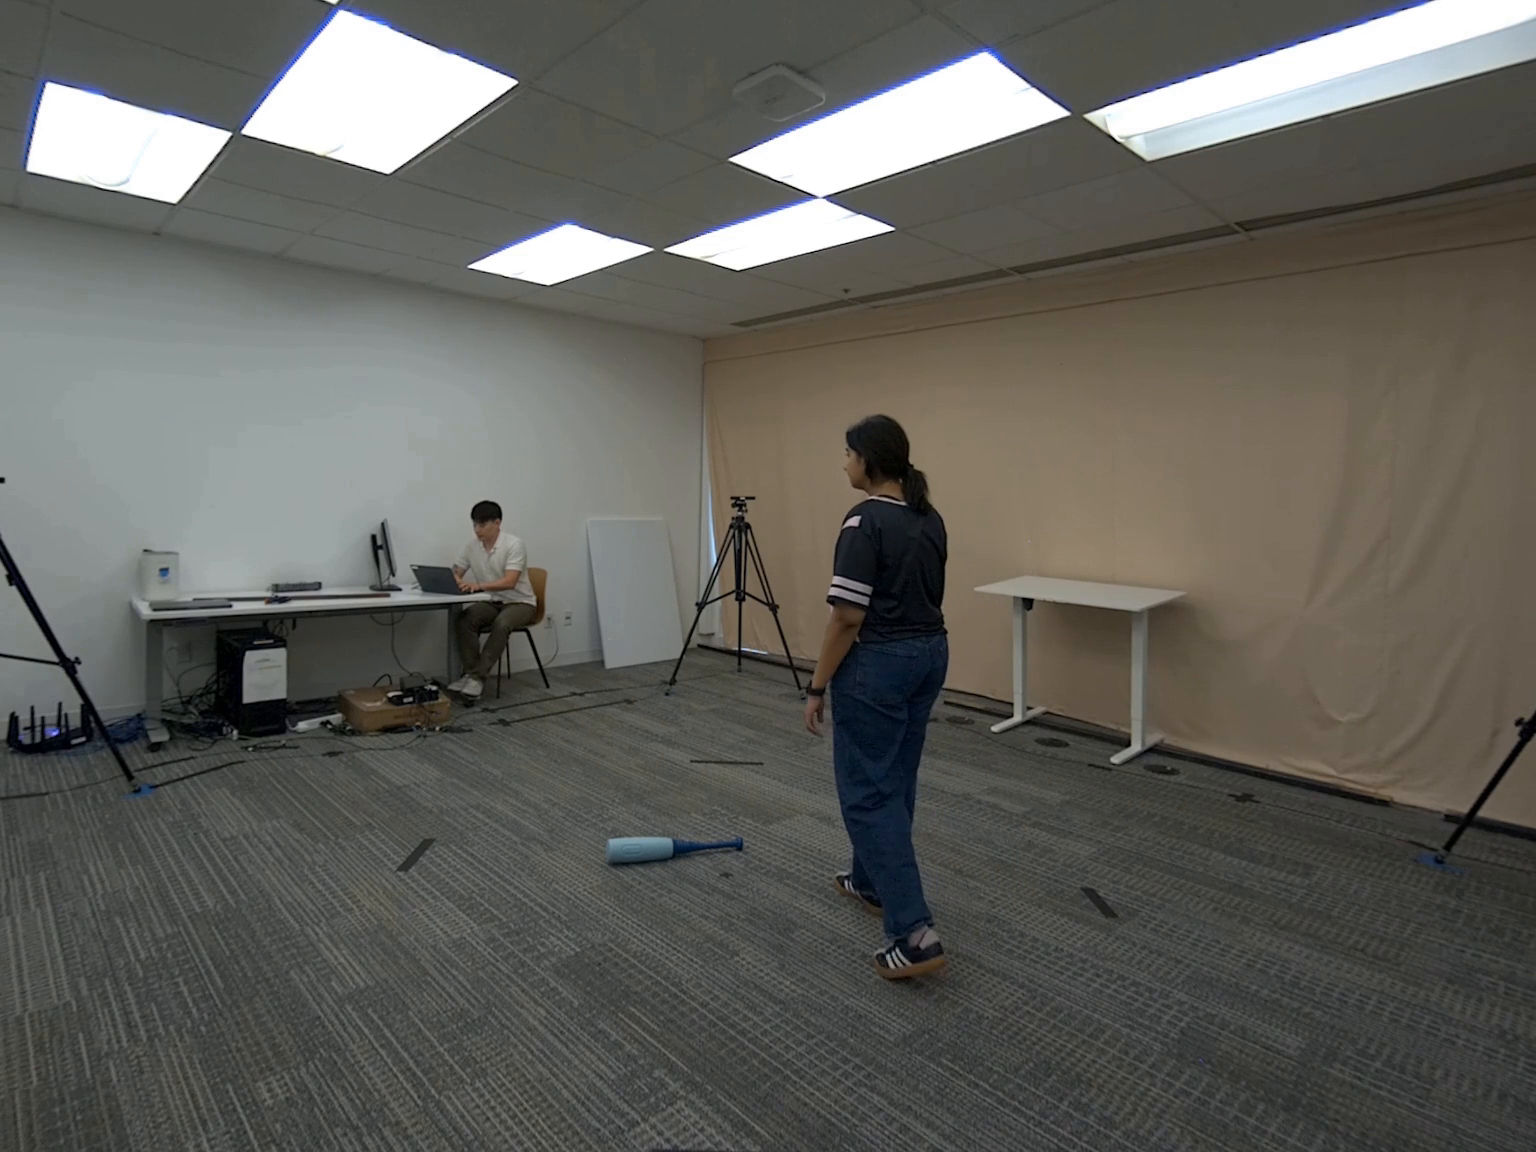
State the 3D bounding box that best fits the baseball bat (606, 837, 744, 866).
[{"bbox_3d":[-0.363,1.057,3.239,0.535,0.089,0.090,4,3,-19],"label":"baseball bat"}]
